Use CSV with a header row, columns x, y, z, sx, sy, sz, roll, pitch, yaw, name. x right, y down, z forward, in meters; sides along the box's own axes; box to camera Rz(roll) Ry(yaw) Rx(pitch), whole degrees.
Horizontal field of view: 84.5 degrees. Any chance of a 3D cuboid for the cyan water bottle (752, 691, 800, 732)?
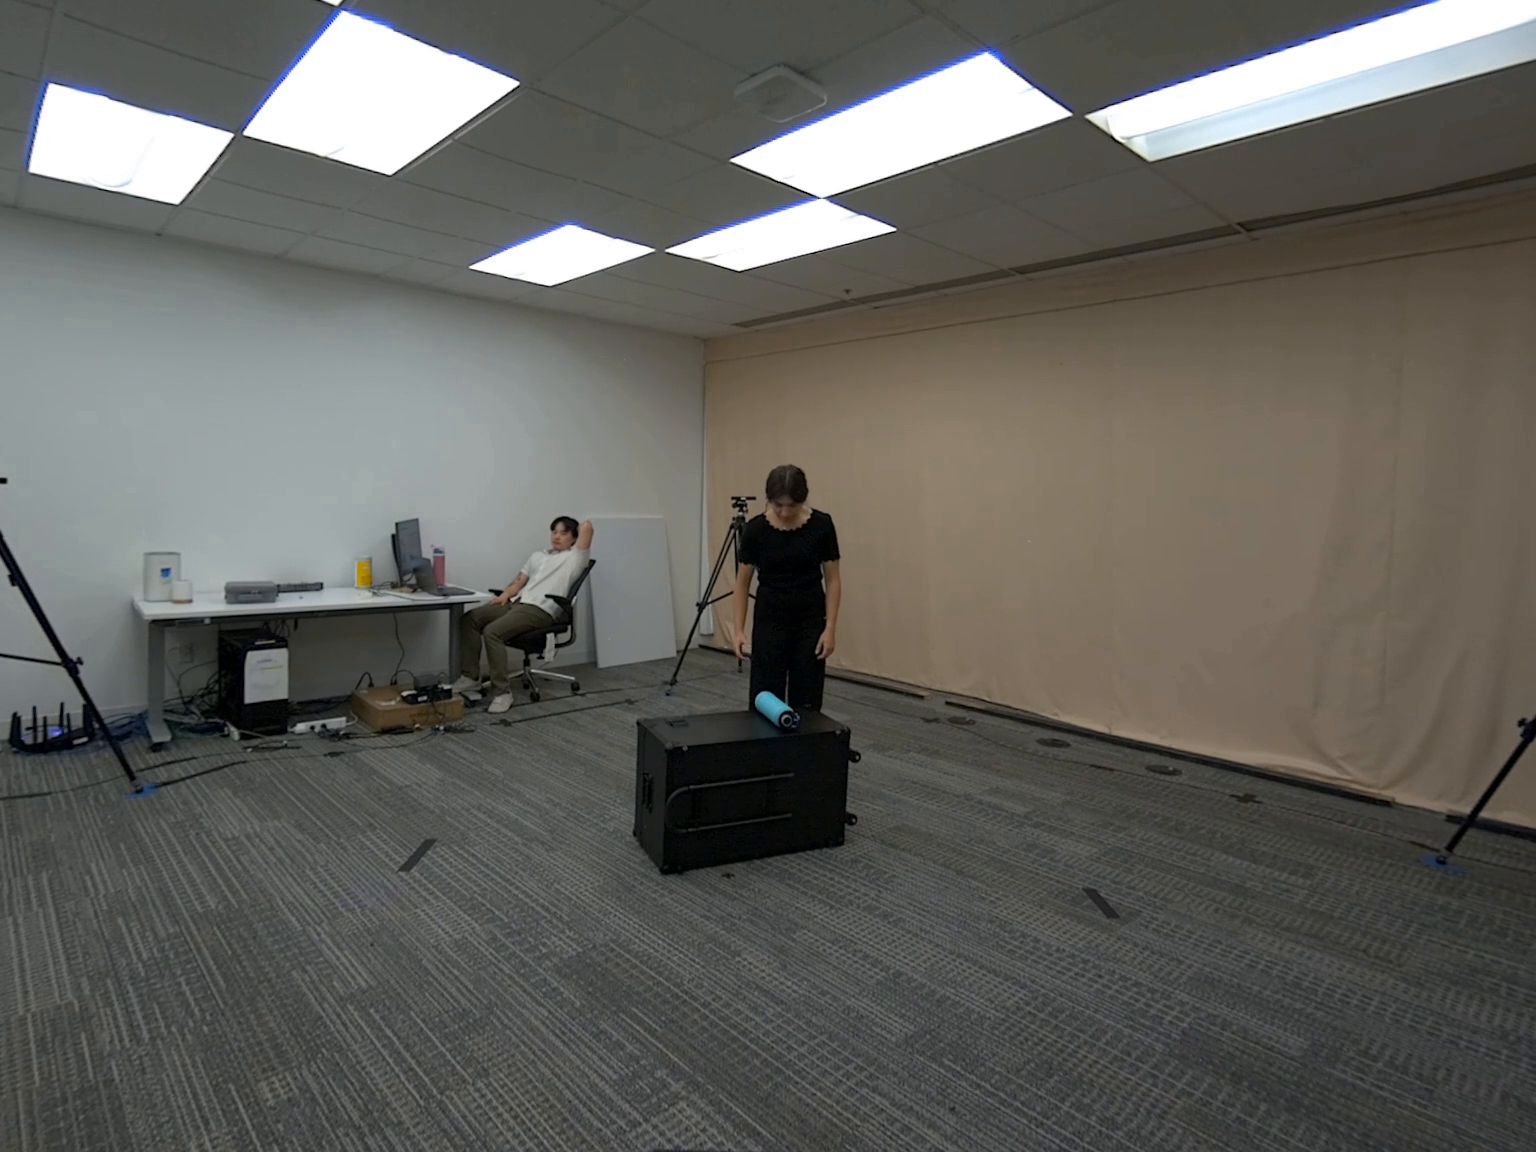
x,y,z,sx,sy,sz,roll,pitch,yaw,name
0.024,0.546,3.408,0.091,0.092,0.289,0,9,-20,cyan water bottle
